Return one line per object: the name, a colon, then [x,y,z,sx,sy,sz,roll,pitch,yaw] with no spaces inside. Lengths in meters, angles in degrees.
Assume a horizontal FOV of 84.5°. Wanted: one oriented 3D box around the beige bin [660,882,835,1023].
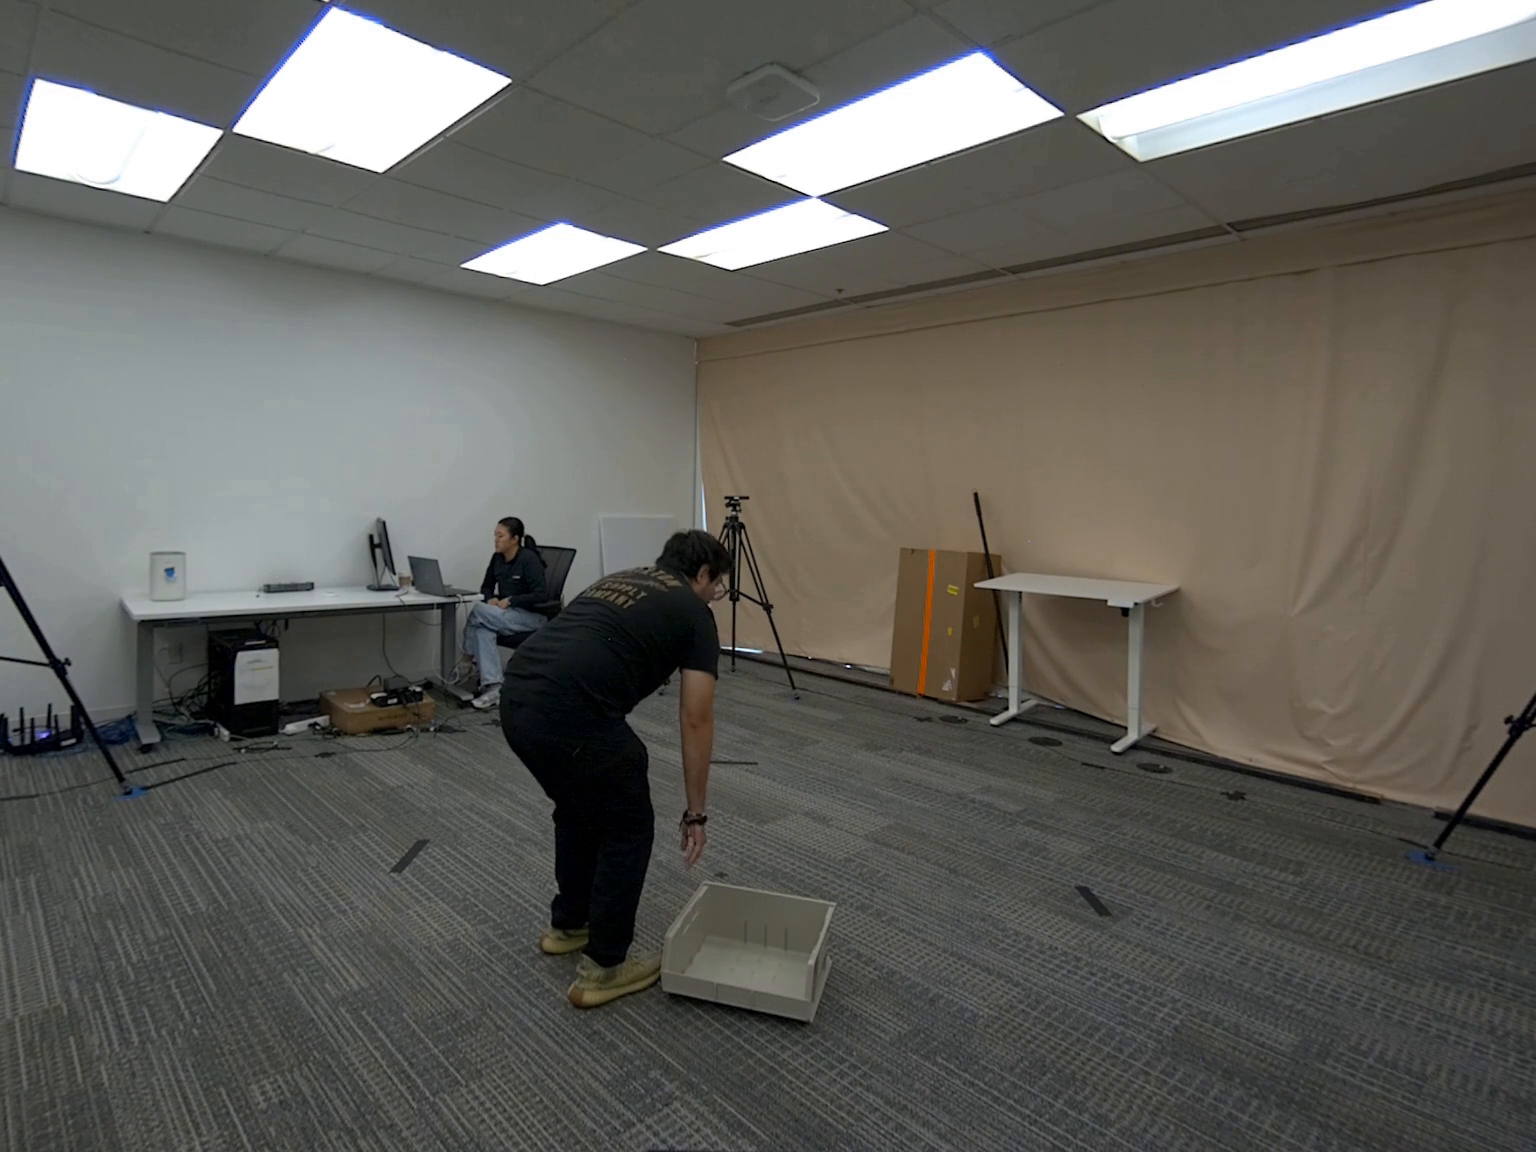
beige bin: [-0.047,1.082,2.414,0.428,0.188,0.373,2,3,16]
